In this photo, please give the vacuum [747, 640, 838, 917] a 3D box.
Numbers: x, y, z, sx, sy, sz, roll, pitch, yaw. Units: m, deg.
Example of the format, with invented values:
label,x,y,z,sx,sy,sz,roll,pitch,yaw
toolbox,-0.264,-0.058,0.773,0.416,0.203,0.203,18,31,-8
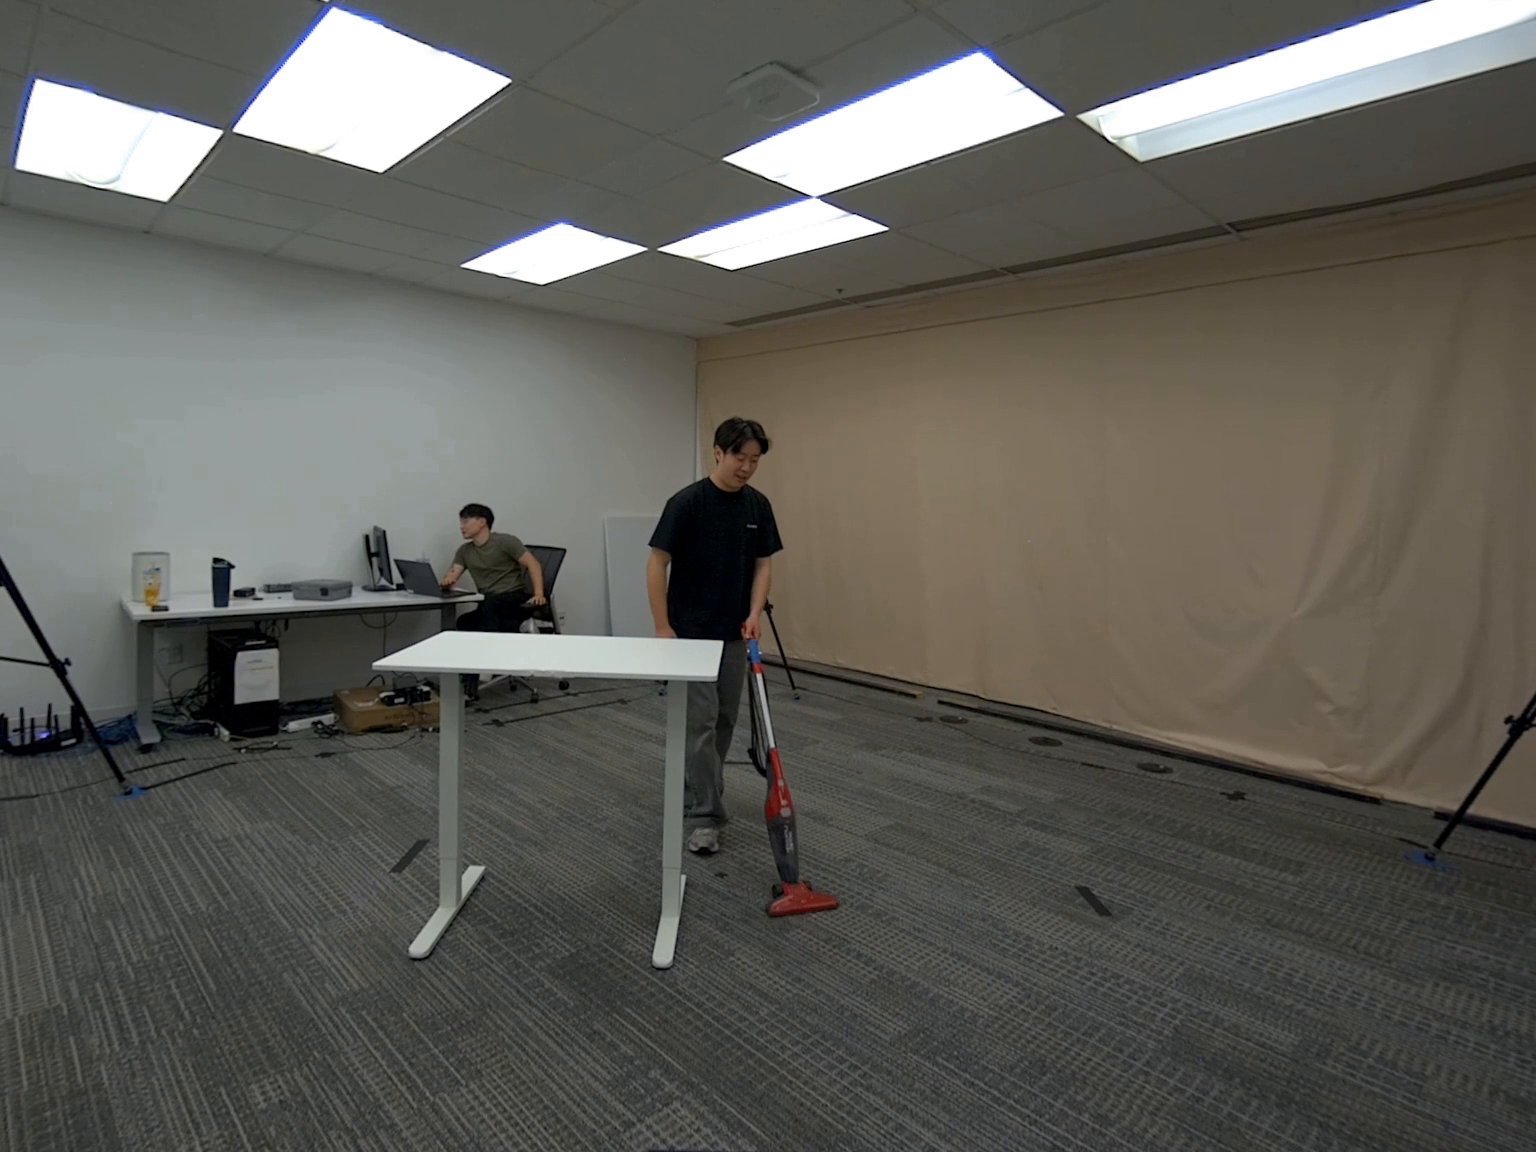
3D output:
label,x,y,z,sx,sy,sz,roll,pitch,yaw
vacuum,0.003,0.671,3.145,0.248,1.073,0.143,3,-33,-25
